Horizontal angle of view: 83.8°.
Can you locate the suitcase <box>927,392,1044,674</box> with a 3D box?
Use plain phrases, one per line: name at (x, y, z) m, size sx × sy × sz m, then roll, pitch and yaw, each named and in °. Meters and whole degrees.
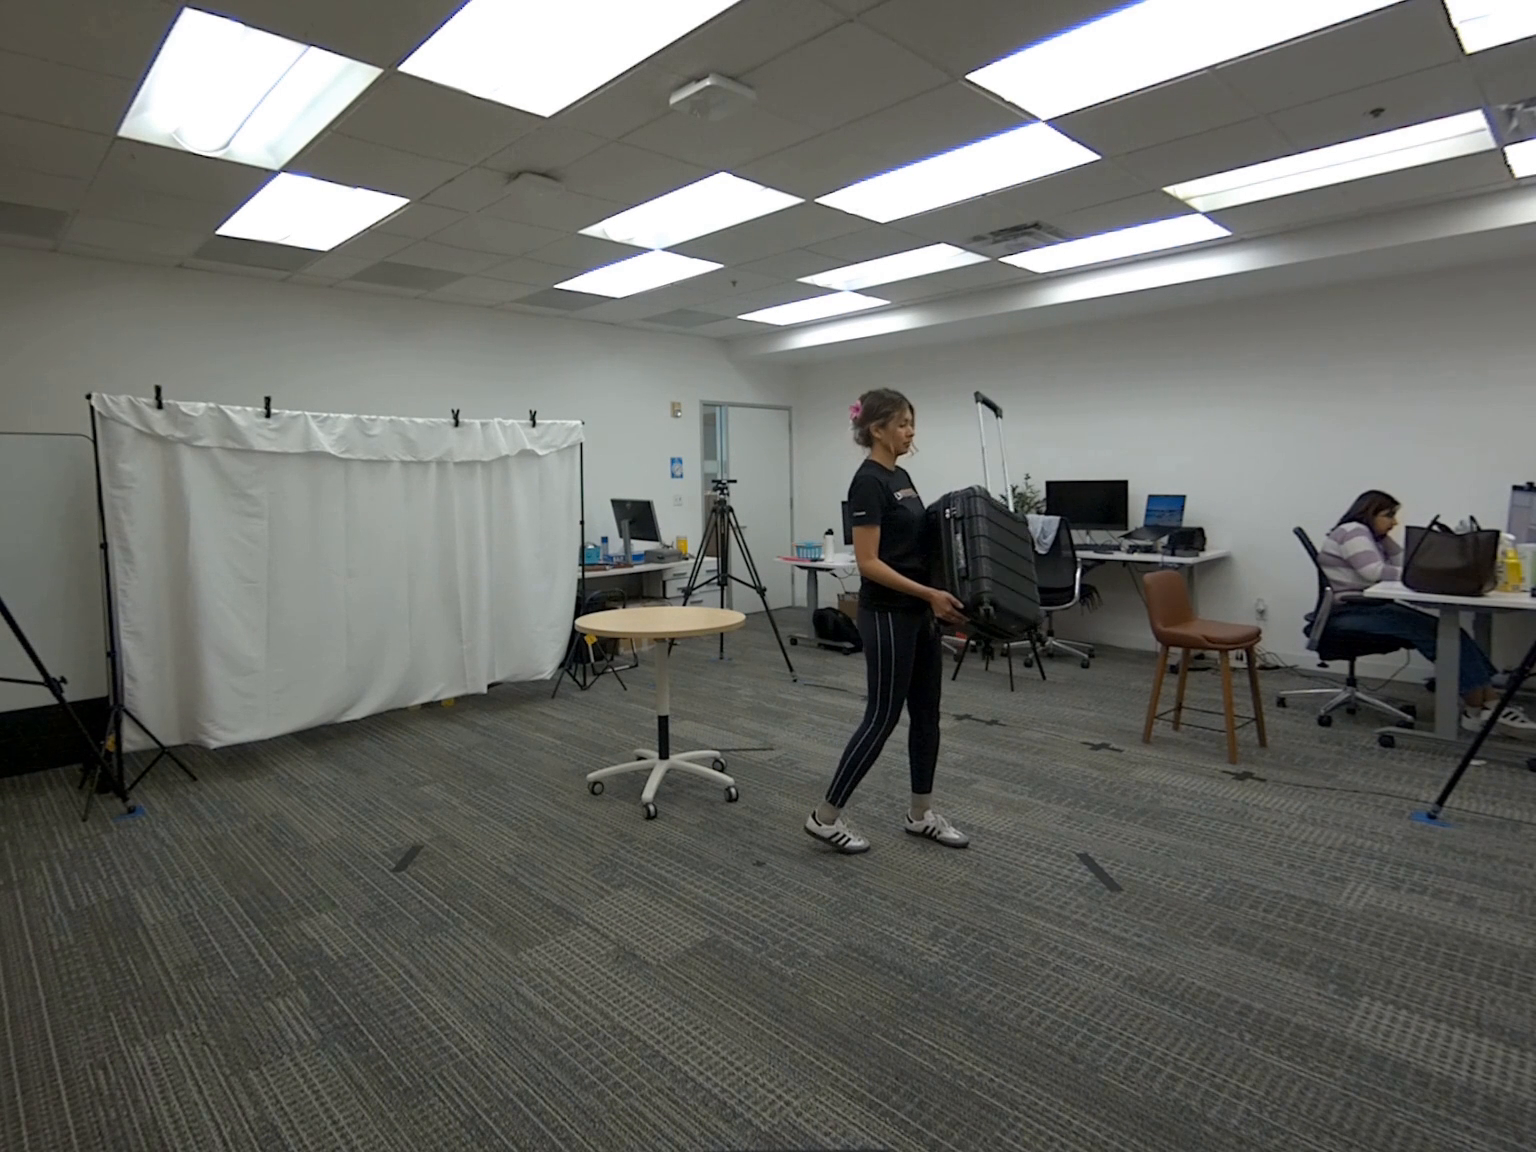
suitcase at (0.774, -0.212, 3.176) m, size 0.372 × 0.999 × 0.260 m, roll 20°, pitch -32°, yaw -30°
